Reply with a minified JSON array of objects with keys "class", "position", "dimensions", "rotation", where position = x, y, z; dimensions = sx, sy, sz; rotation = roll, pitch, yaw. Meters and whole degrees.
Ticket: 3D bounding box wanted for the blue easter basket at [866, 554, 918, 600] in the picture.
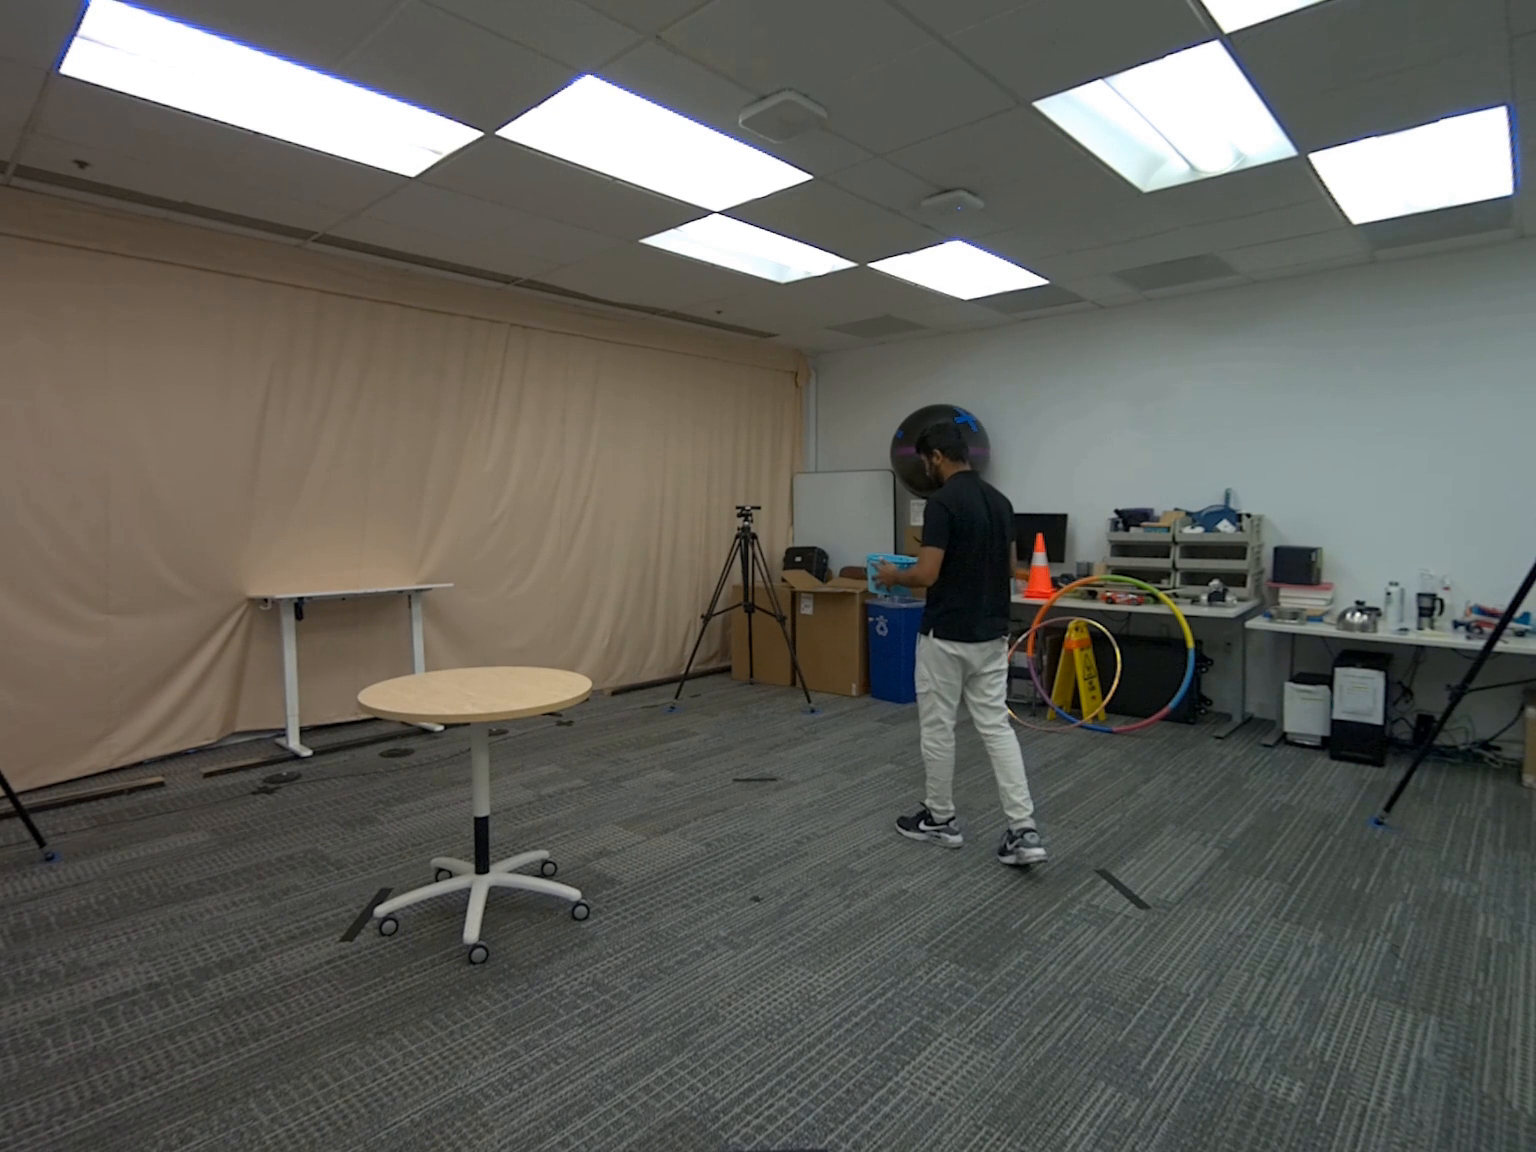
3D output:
[{"class":"blue easter basket","position":[0.550,-0.001,3.688],"dimensions":[0.243,0.155,0.245],"rotation":[3,8,-2]}]
